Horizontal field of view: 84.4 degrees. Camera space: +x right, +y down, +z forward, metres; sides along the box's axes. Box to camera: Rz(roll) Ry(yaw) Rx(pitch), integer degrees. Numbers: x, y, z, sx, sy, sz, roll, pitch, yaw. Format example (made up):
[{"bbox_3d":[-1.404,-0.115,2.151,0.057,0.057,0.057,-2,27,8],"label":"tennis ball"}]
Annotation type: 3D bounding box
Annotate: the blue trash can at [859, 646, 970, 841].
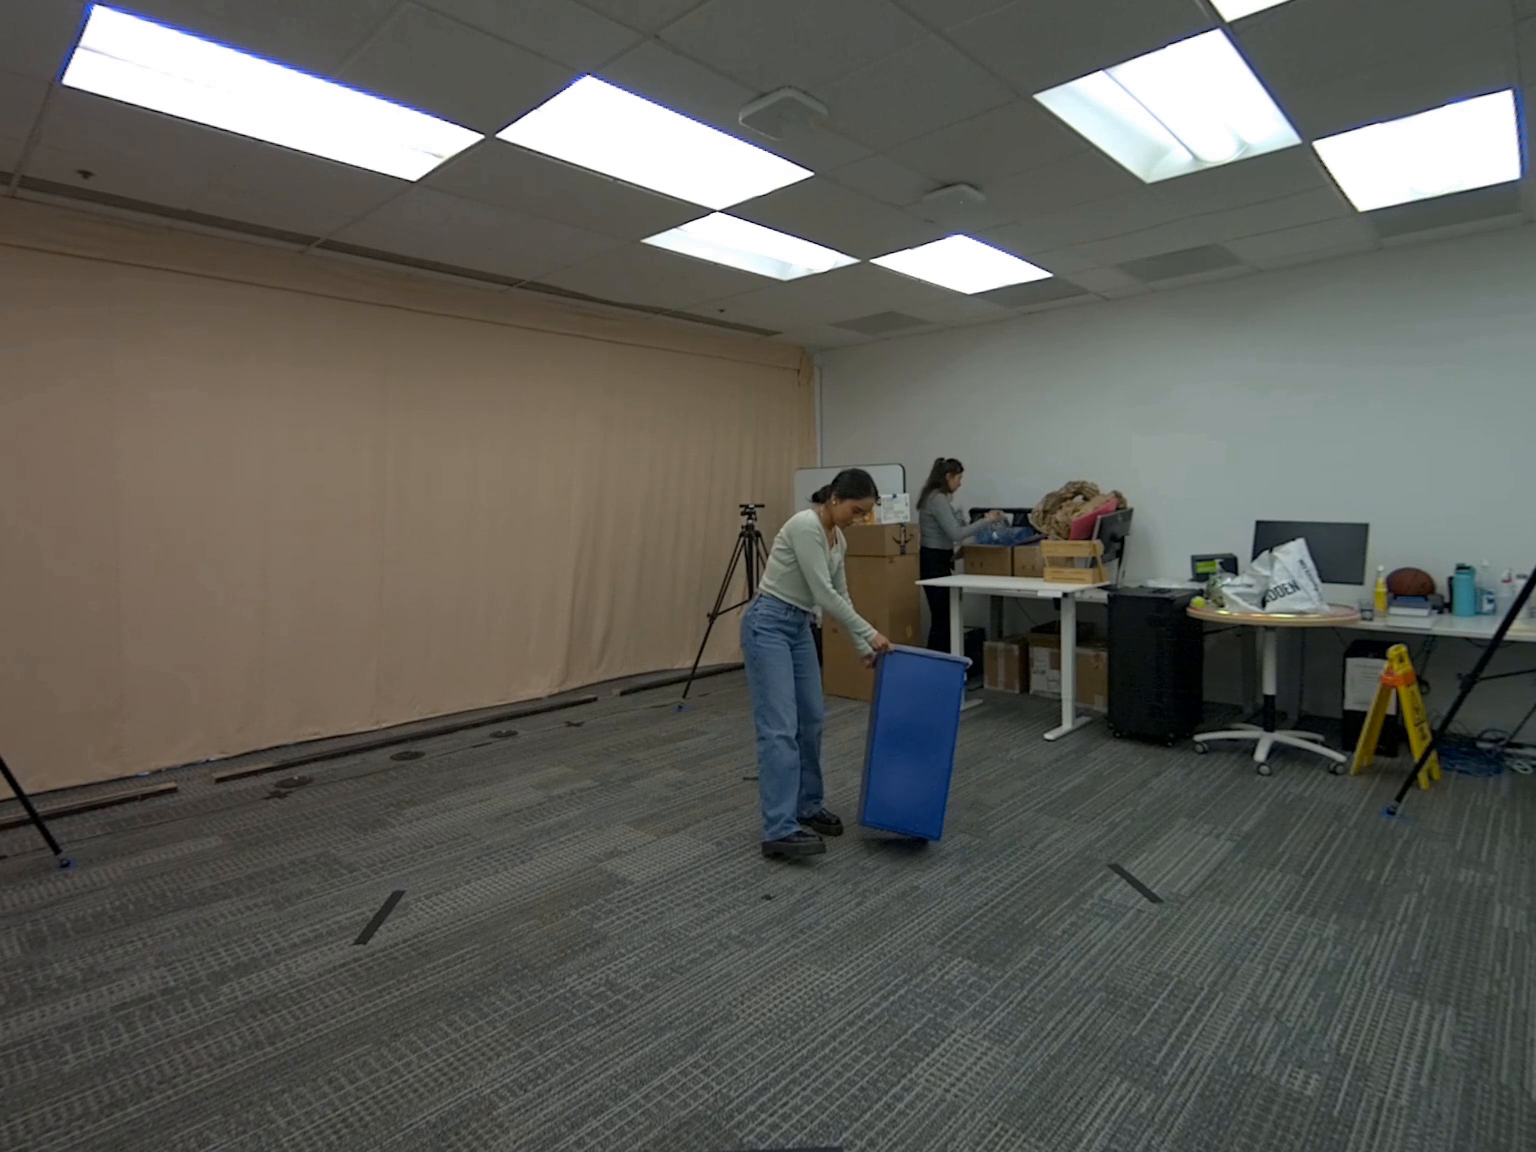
[{"bbox_3d":[0.582,0.688,3.459,0.377,0.718,0.373,9,-16,6],"label":"blue trash can"}]
